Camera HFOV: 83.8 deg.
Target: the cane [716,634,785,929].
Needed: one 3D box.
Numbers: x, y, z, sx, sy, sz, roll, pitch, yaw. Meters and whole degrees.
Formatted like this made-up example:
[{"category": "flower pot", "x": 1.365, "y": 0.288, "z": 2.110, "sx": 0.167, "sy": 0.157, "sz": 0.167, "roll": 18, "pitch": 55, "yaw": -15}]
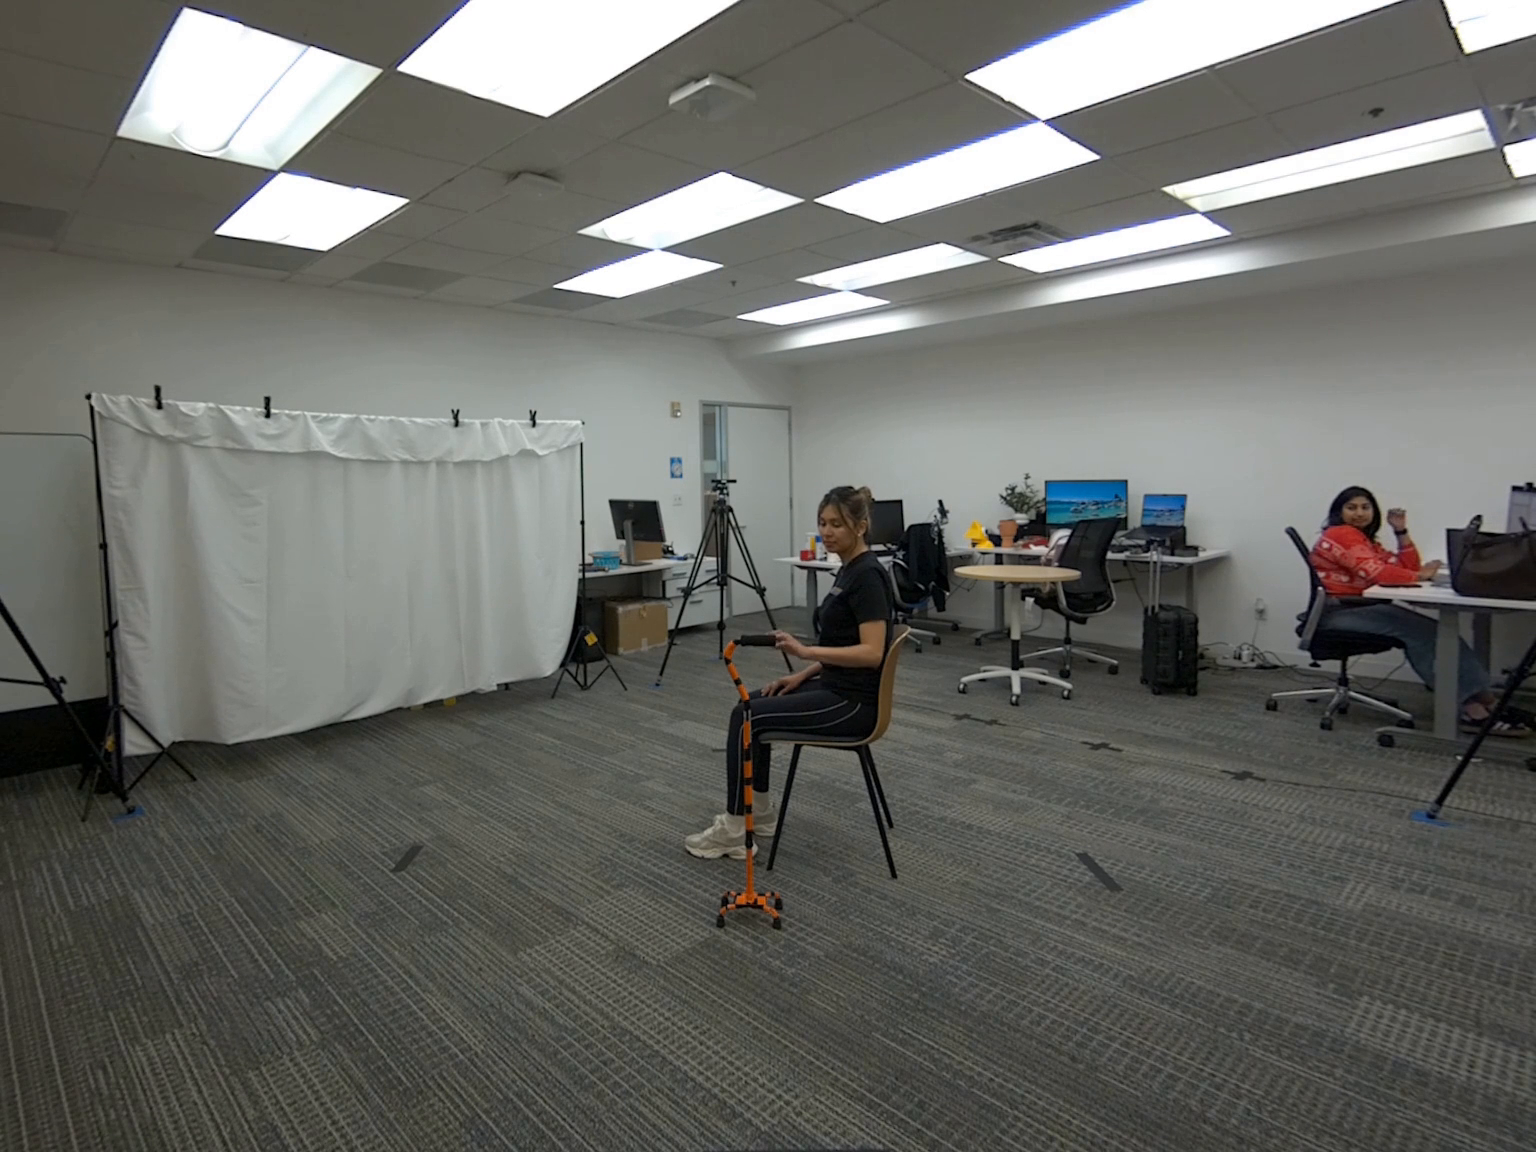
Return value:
[{"category": "cane", "x": -0.063, "y": 0.640, "z": 2.700, "sx": 0.207, "sy": 0.905, "sz": 0.151, "roll": -1, "pitch": 3, "yaw": 4}]
